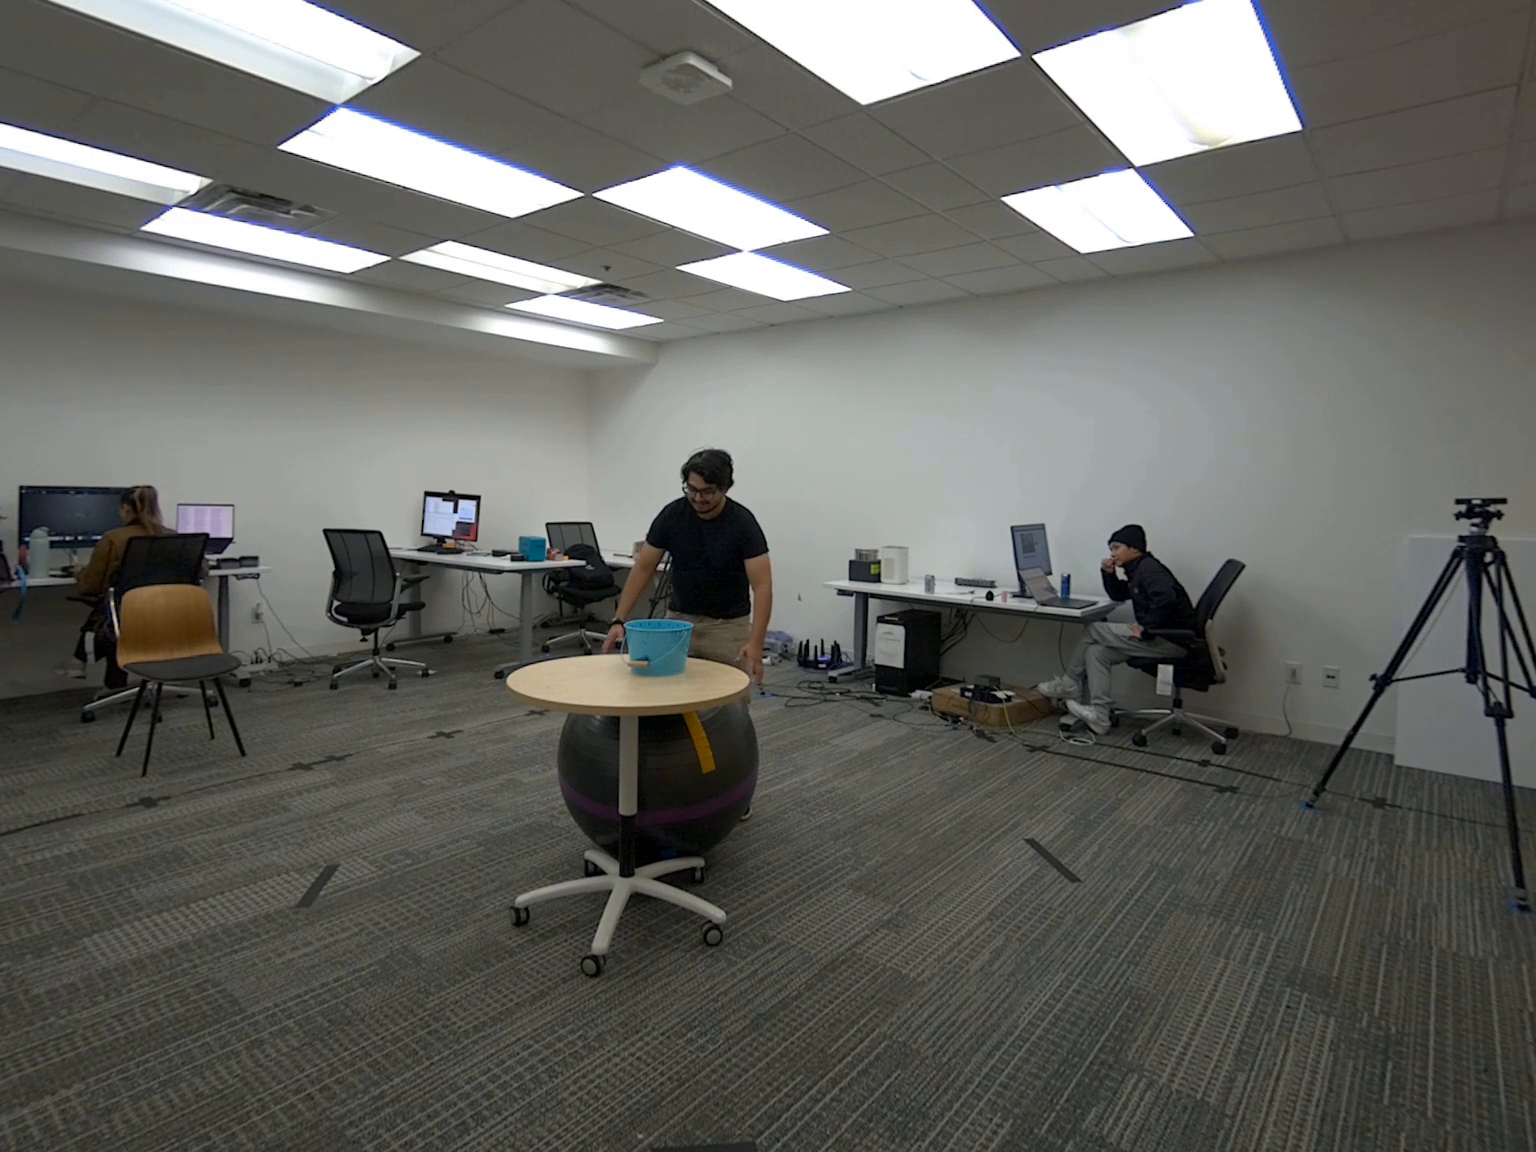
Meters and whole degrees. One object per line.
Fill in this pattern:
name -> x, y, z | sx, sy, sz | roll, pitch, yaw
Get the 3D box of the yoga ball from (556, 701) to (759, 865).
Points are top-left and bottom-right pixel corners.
yoga ball -> -0.418, 0.692, 3.212 | 0.757, 0.755, 0.762 | 1, 4, -2
